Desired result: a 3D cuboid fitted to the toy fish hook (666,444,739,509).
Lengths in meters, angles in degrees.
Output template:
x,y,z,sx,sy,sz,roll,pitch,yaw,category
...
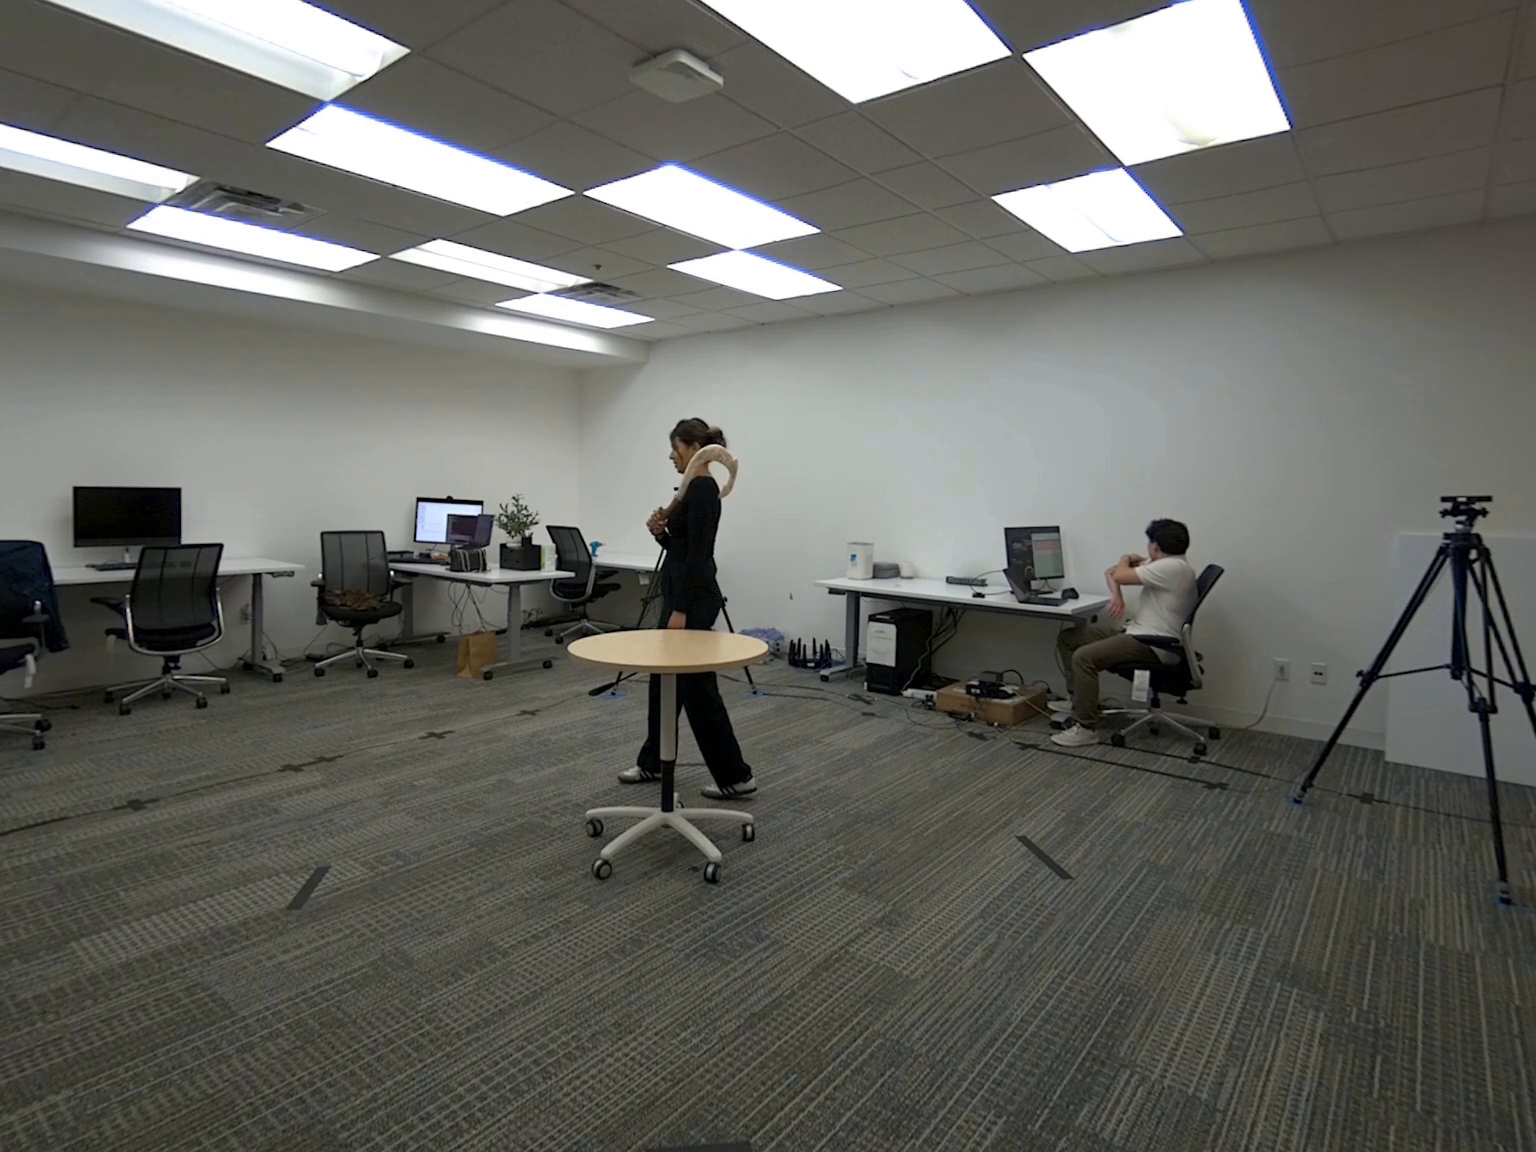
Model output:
x,y,z,sx,sy,sz,roll,pitch,yaw,category
-0.351,-0.362,3.808,0.225,0.506,0.048,40,10,1,toy fish hook
